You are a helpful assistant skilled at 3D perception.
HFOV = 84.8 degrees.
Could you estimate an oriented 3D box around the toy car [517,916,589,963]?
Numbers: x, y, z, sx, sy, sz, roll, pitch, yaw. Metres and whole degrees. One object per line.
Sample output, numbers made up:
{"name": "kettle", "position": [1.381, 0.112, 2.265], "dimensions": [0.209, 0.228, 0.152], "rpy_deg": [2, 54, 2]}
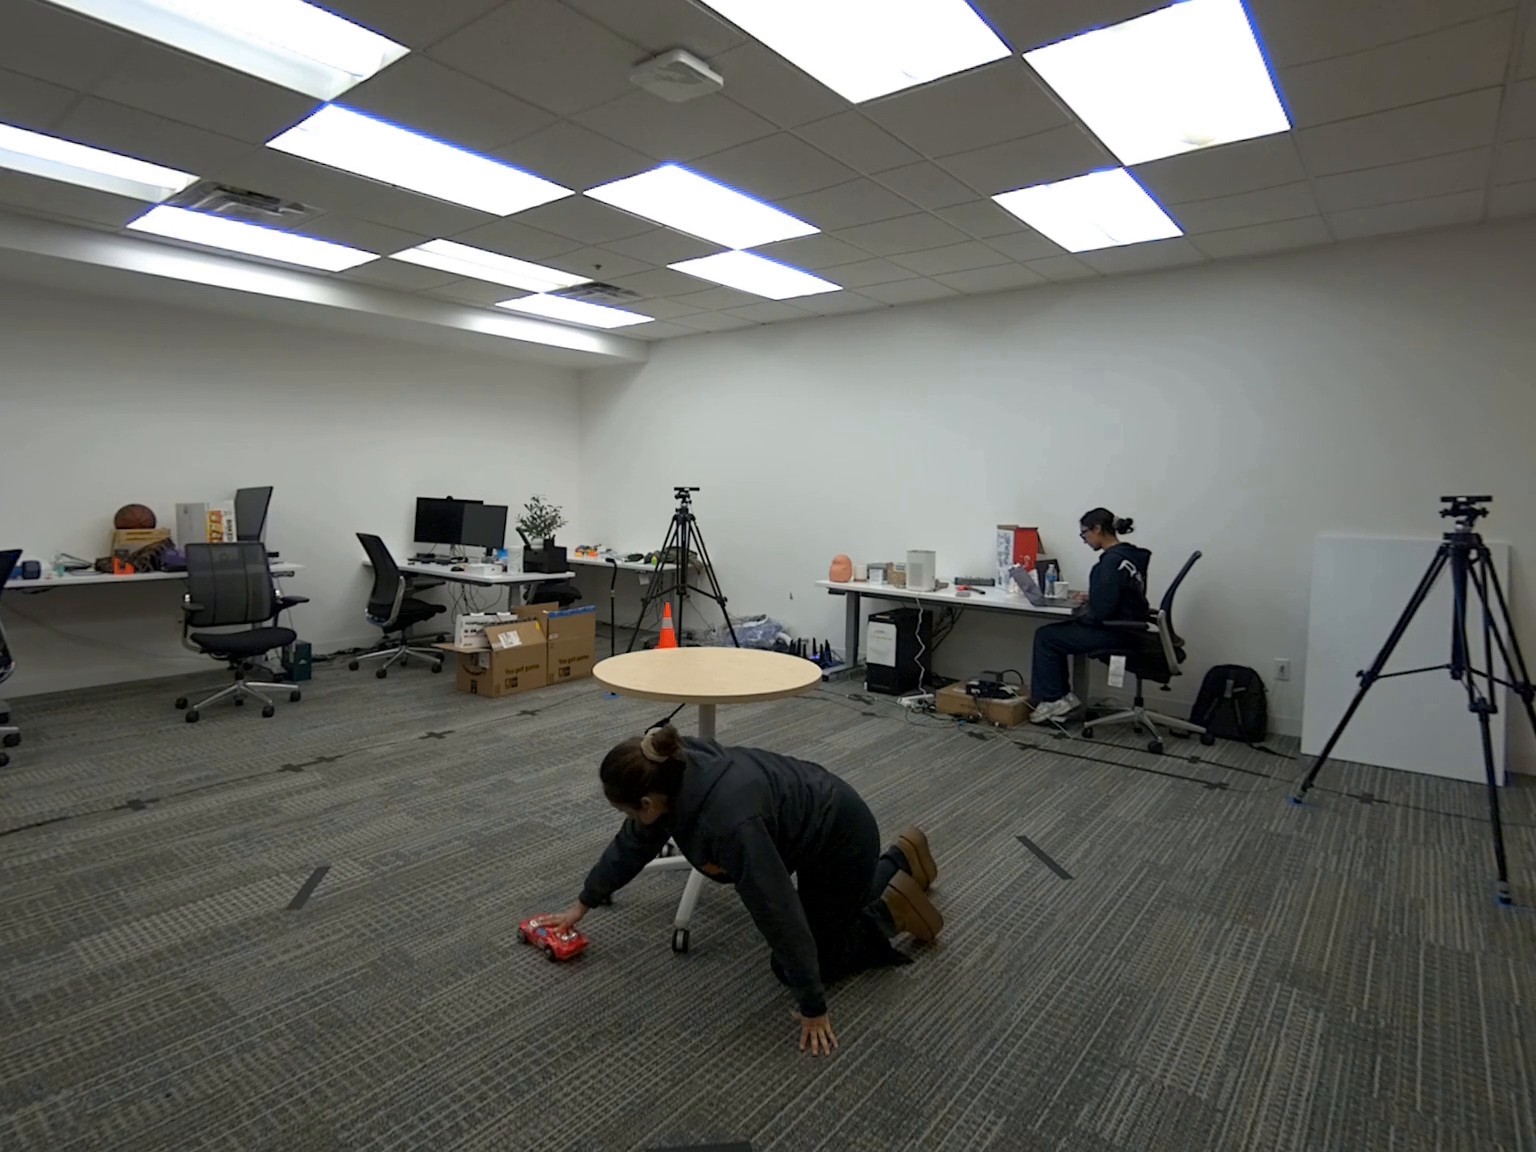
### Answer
{"name": "toy car", "position": [-0.639, 1.087, 2.552], "dimensions": [0.261, 0.083, 0.126], "rpy_deg": [-8, -3, 42]}
